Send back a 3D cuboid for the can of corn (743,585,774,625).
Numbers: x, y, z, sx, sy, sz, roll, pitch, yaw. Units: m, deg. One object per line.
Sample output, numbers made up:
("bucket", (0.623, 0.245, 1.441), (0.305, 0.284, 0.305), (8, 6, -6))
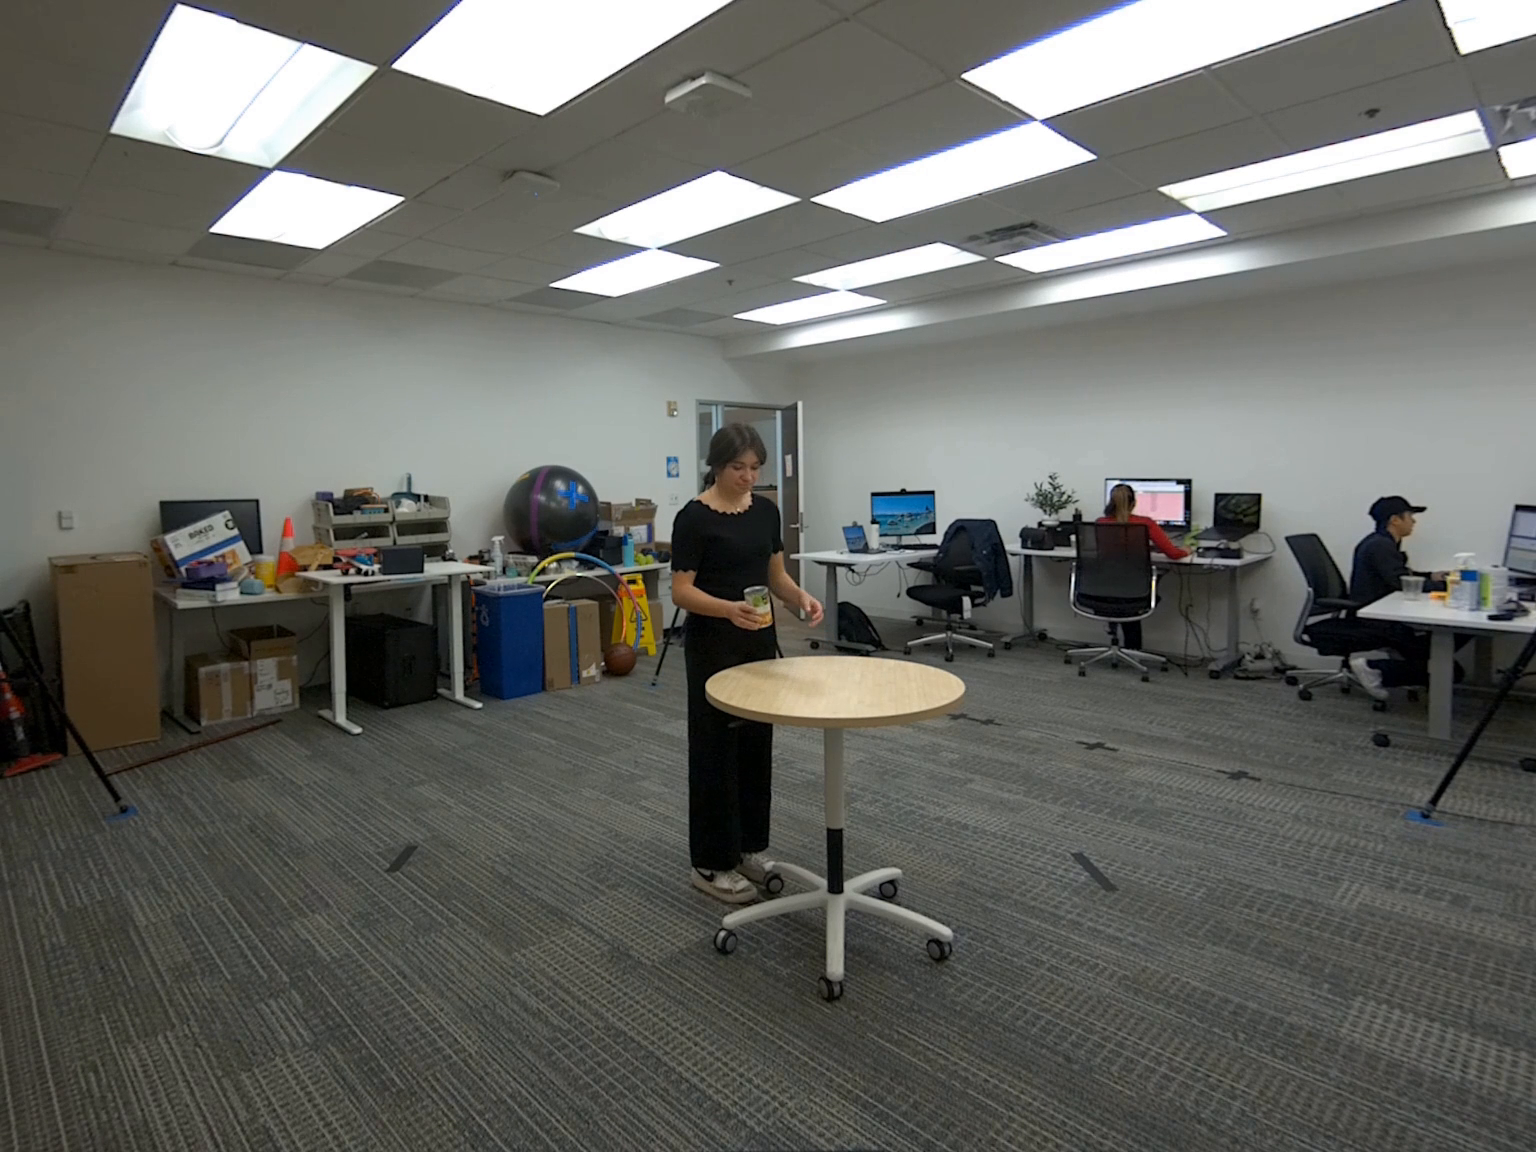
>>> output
("can of corn", (-0.032, 0.097, 2.654), (0.074, 0.109, 0.075), (-9, 13, 0))
